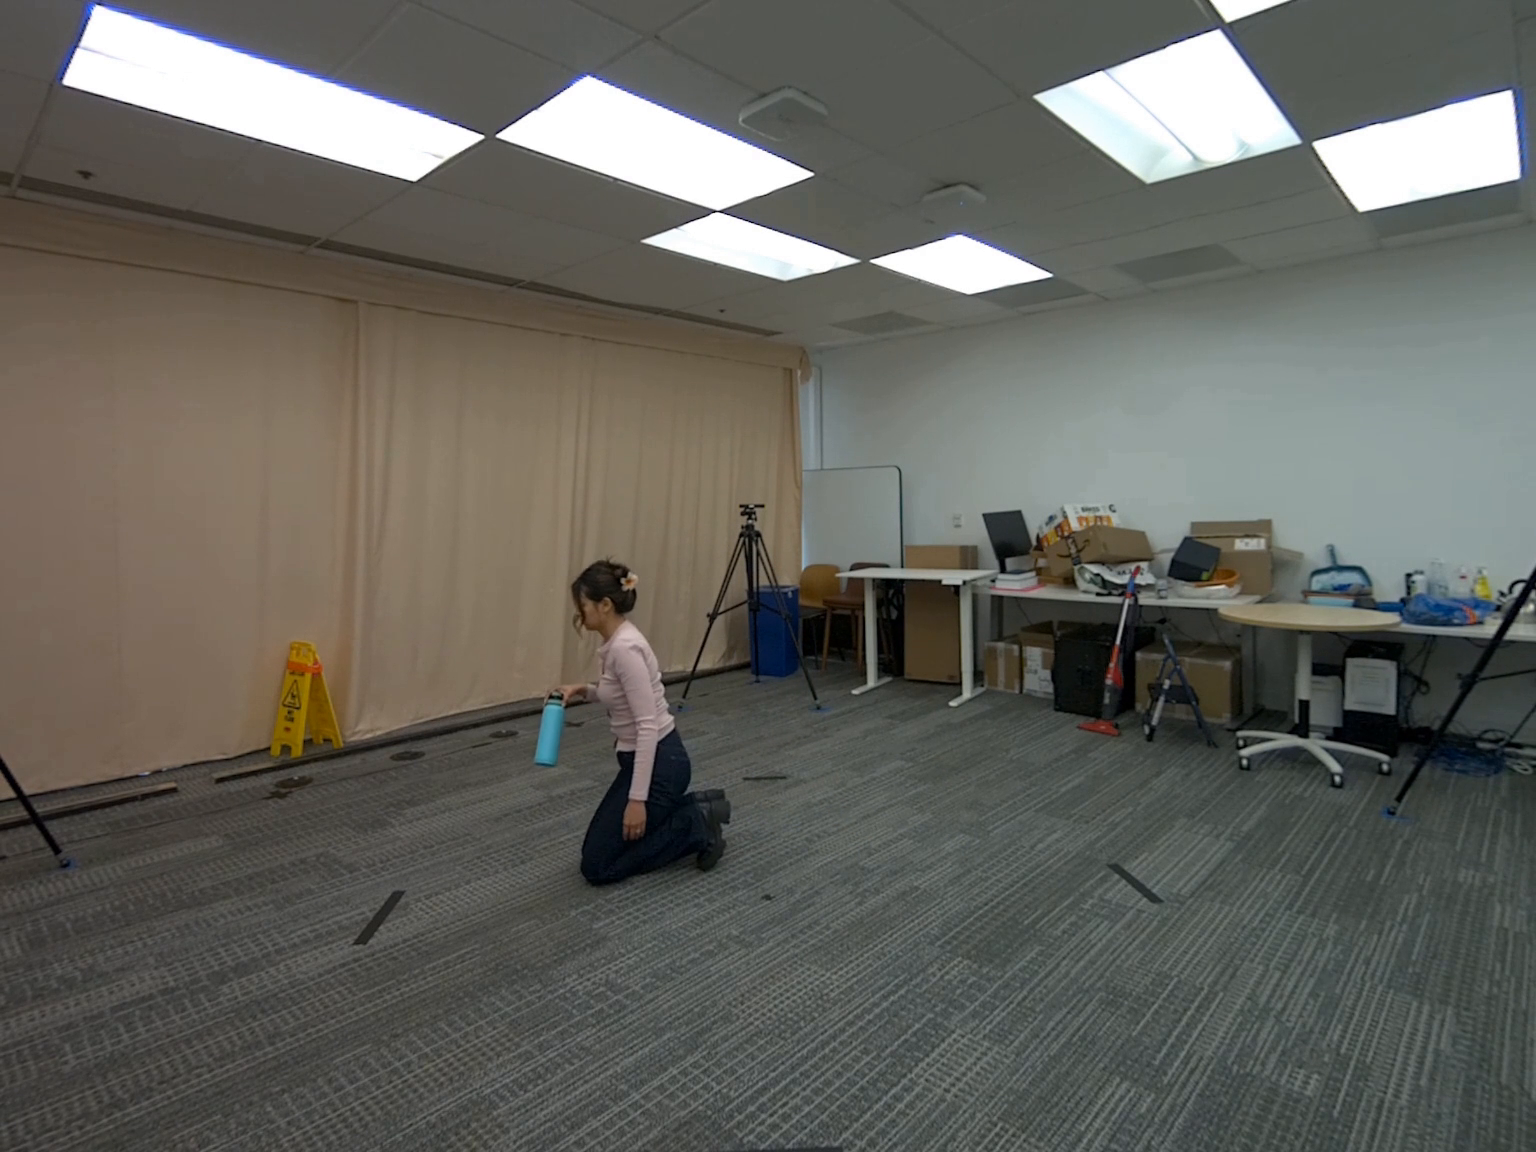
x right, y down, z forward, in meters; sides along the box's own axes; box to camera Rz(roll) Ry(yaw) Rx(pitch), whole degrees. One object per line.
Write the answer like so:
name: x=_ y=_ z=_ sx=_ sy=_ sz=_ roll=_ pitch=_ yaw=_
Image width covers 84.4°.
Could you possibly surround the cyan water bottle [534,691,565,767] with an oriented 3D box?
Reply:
cyan water bottle: x=-0.856 y=0.605 z=3.338 sx=0.092 sy=0.286 sz=0.091 roll=5 pitch=-20 yaw=0
